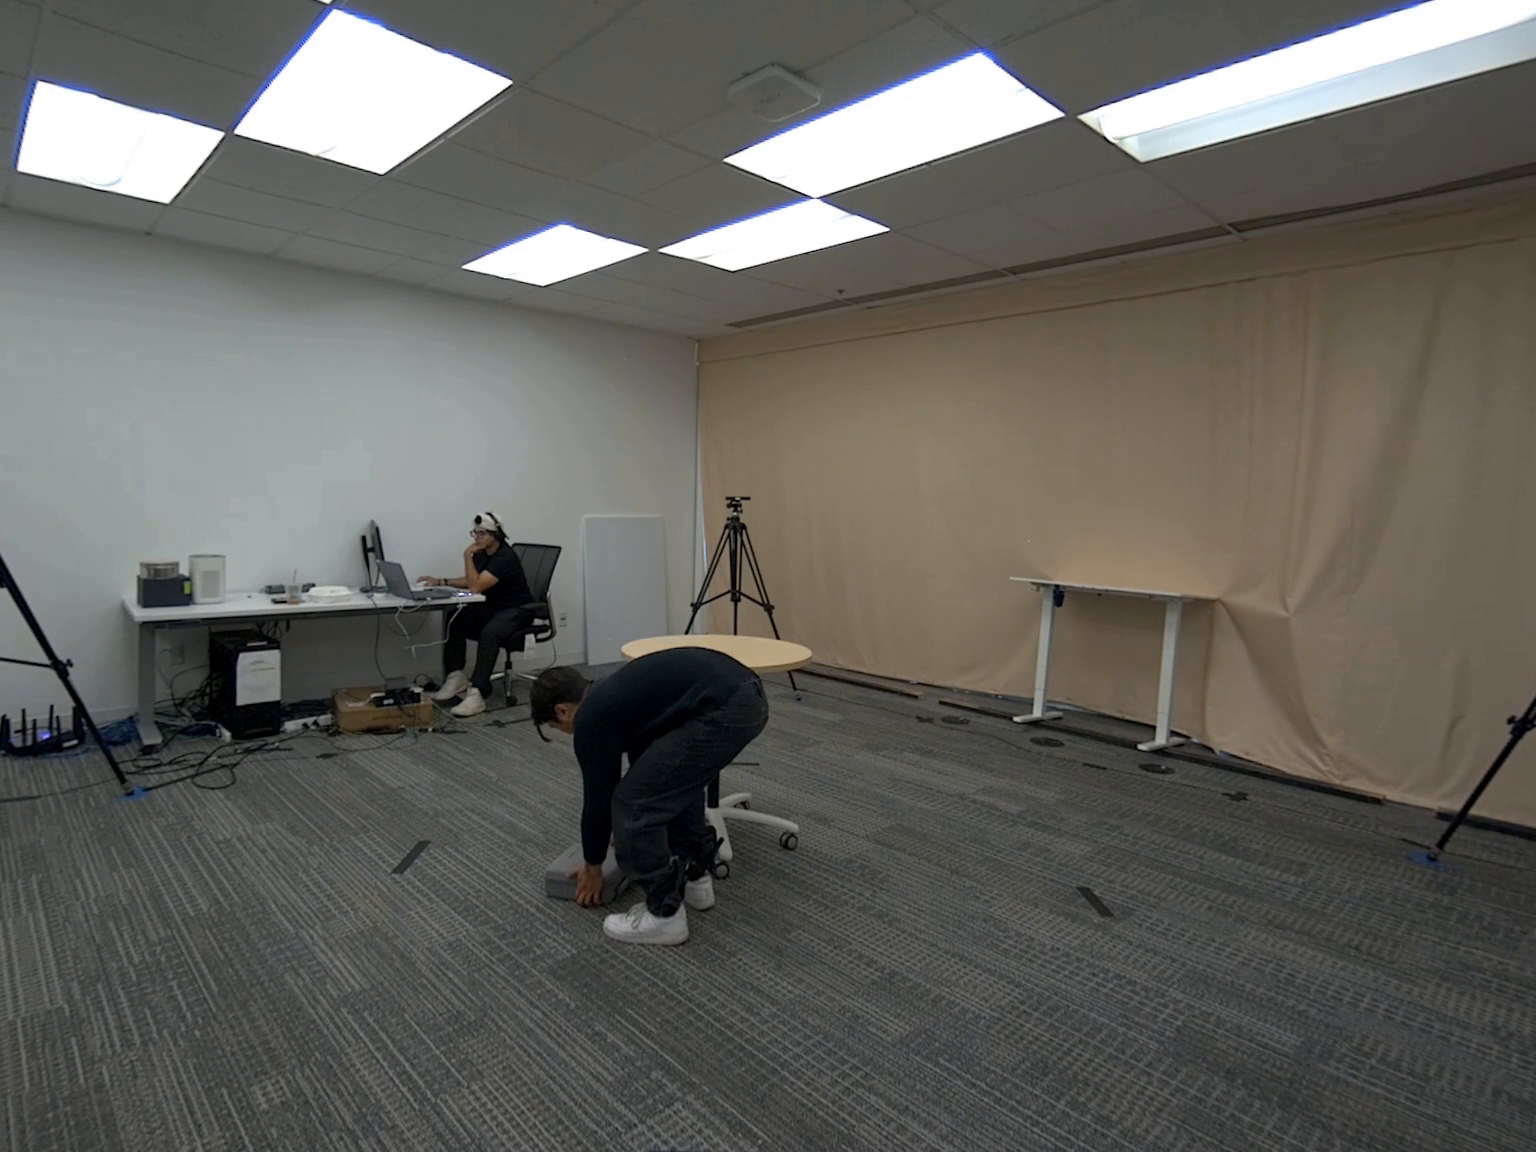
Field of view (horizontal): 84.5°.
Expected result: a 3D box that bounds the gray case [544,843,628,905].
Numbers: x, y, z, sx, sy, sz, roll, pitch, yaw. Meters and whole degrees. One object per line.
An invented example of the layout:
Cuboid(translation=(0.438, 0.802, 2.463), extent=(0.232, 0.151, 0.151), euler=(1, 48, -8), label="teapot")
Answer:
Cuboid(translation=(-0.628, 1.044, 2.992), extent=(0.264, 0.104, 0.255), euler=(1, 6, 15), label="gray case")
